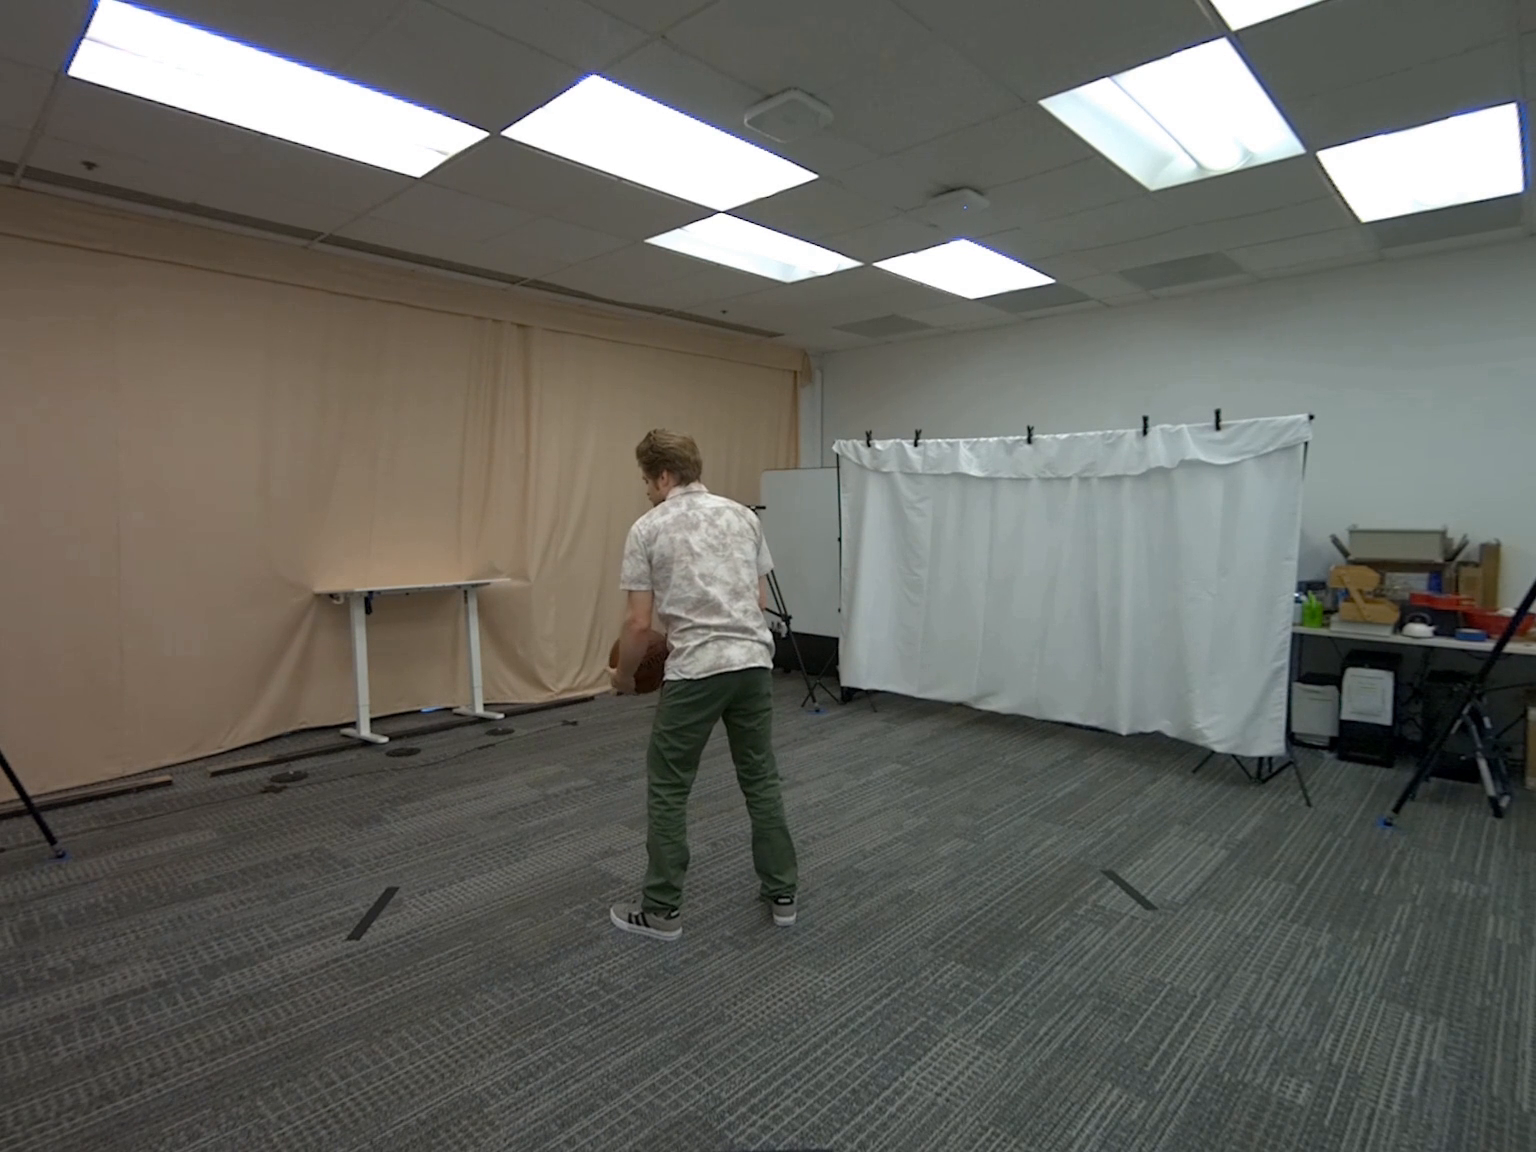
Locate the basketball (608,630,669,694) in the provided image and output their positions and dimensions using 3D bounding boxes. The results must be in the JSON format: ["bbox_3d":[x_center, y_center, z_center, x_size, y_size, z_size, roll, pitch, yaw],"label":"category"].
[{"bbox_3d":[-0.451,0.305,3.073,0.236,0.235,0.237,0,4,-2],"label":"basketball"}]
